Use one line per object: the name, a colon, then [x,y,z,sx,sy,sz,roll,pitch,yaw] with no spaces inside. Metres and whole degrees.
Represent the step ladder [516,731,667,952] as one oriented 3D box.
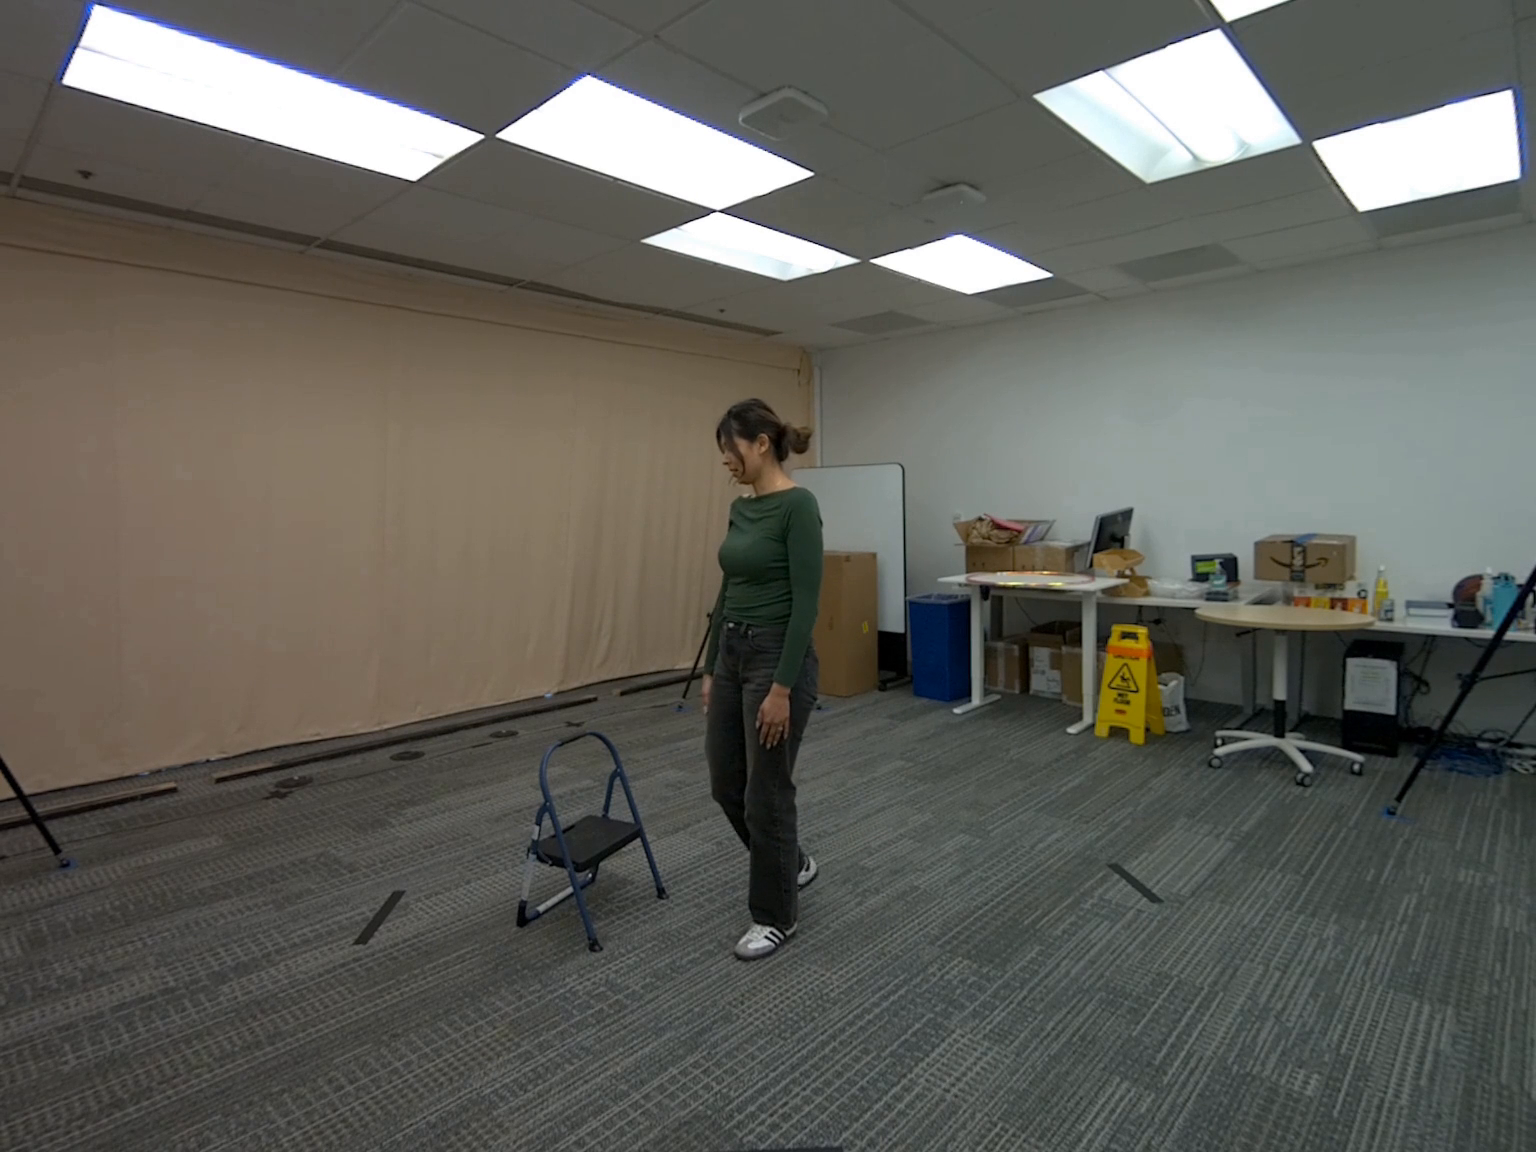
step ladder: [-0.603,0.858,2.894,0.359,0.605,0.420,1,3,27]
